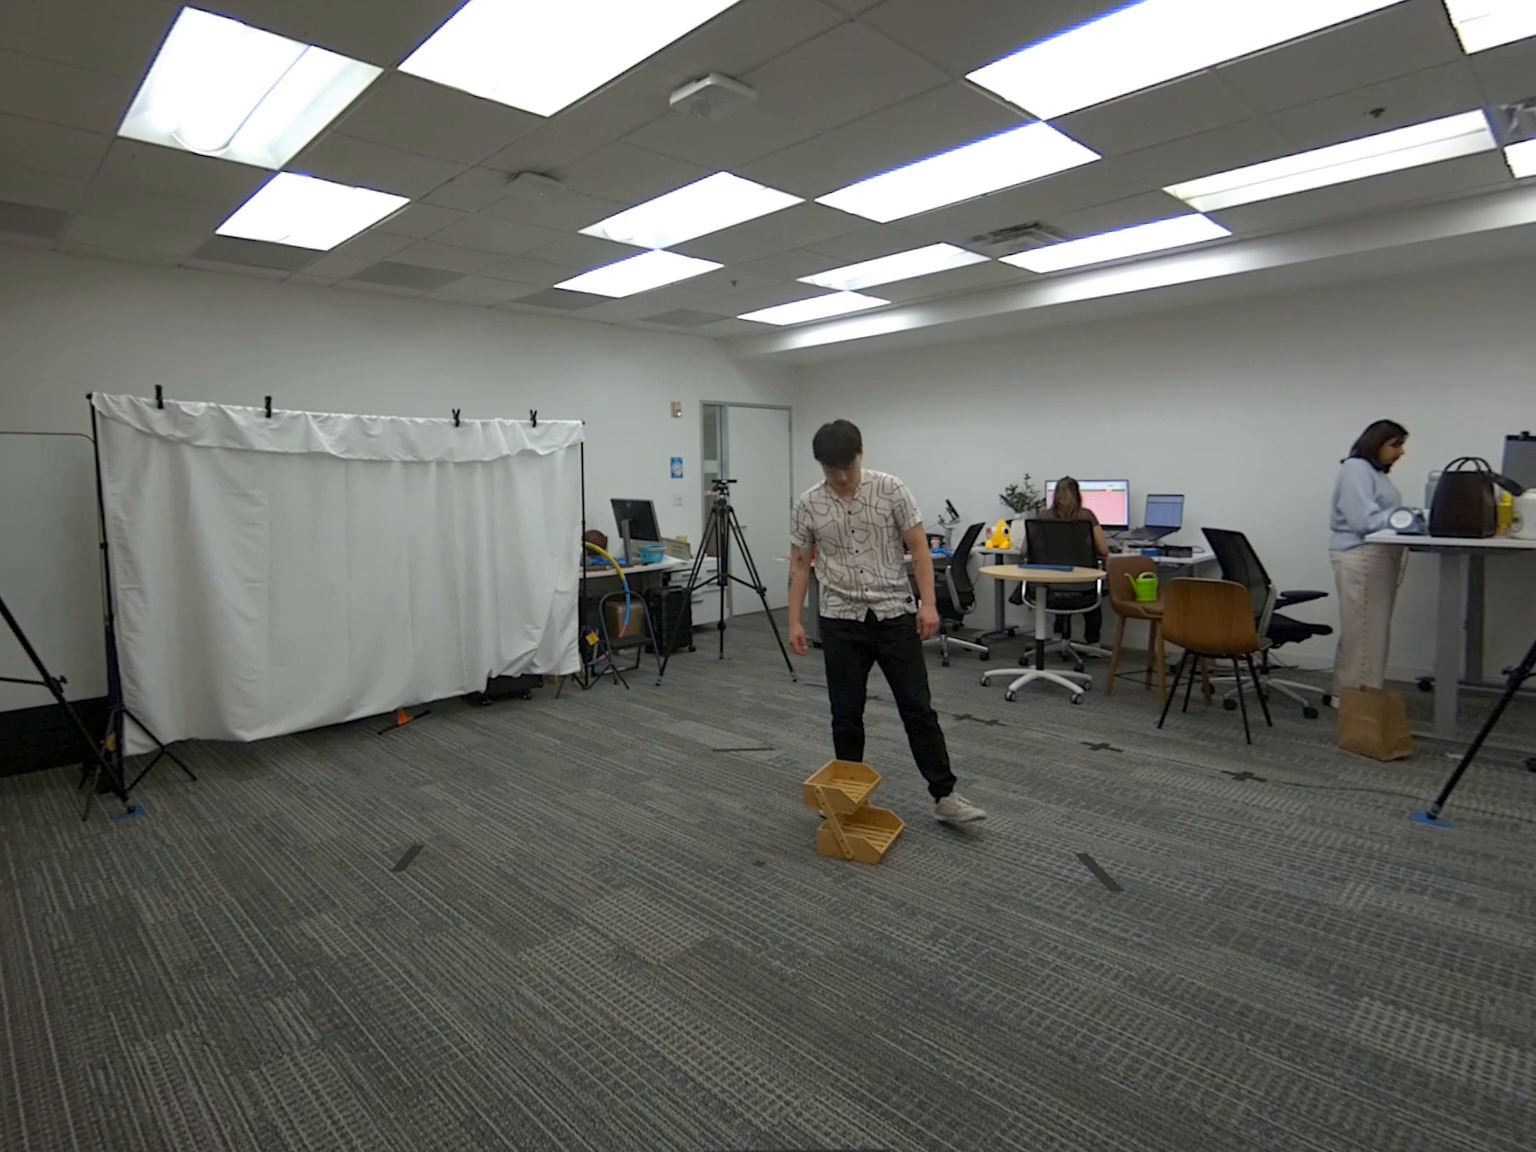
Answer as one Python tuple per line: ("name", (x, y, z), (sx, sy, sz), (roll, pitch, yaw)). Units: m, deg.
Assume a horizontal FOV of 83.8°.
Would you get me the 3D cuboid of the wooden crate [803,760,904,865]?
("wooden crate", (0.338, 0.890, 3.268), (0.309, 0.272, 0.318), (1, 5, 27))
